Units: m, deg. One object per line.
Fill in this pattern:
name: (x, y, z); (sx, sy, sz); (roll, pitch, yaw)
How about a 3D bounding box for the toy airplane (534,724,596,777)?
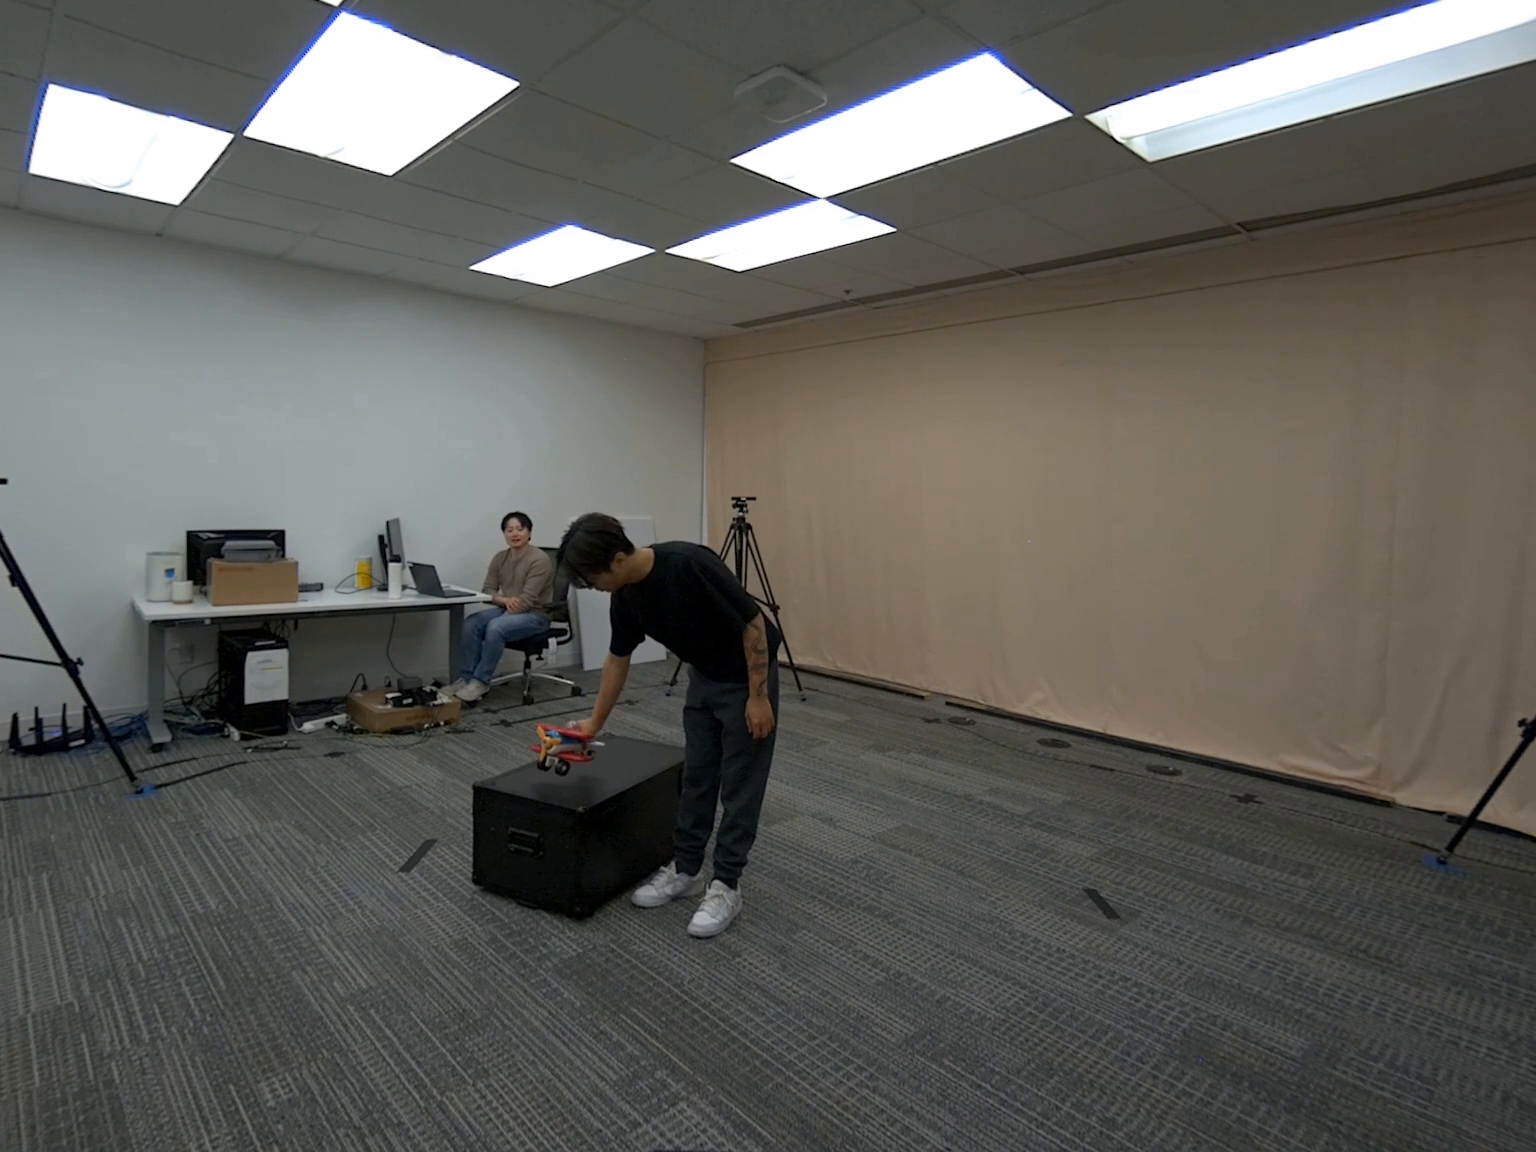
toy airplane: (-0.732, 0.594, 3.008); (0.252, 0.155, 0.260); (1, 7, 3)
